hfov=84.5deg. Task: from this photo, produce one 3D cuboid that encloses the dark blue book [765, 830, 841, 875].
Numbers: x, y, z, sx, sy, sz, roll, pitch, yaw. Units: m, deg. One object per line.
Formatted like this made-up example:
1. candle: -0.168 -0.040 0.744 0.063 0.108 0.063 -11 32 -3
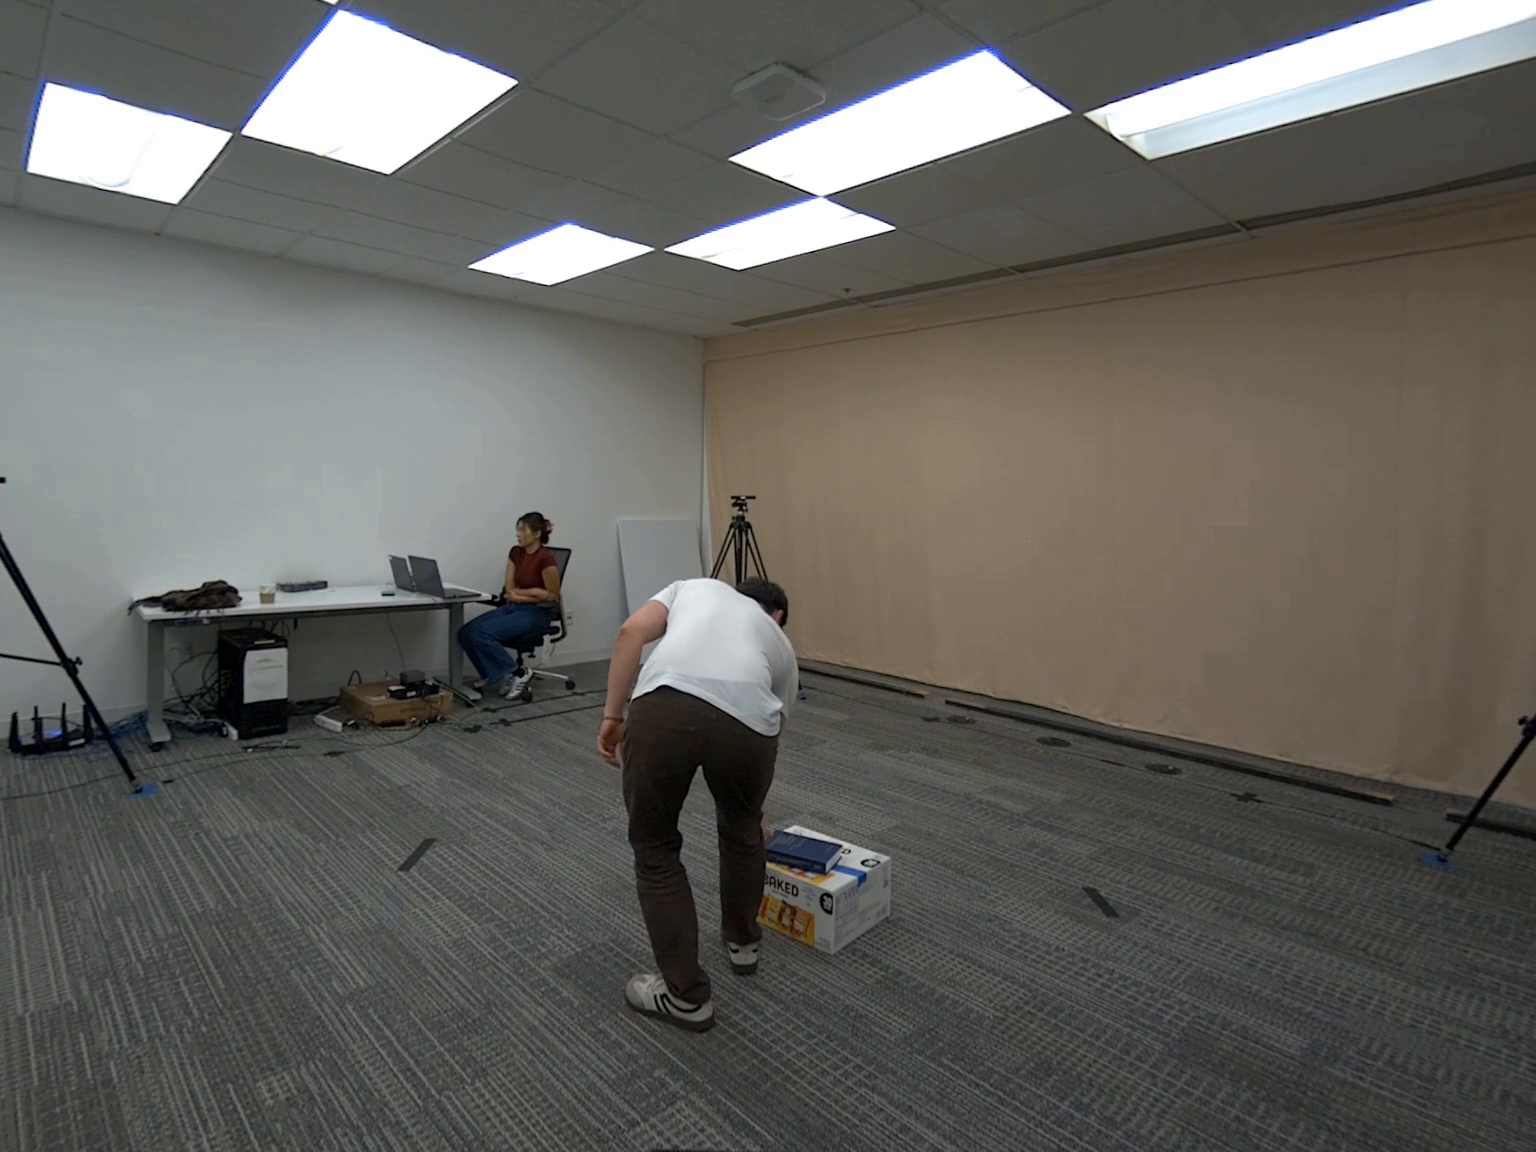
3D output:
1. dark blue book: 0.105 0.924 2.787 0.250 0.045 0.160 4 5 25
